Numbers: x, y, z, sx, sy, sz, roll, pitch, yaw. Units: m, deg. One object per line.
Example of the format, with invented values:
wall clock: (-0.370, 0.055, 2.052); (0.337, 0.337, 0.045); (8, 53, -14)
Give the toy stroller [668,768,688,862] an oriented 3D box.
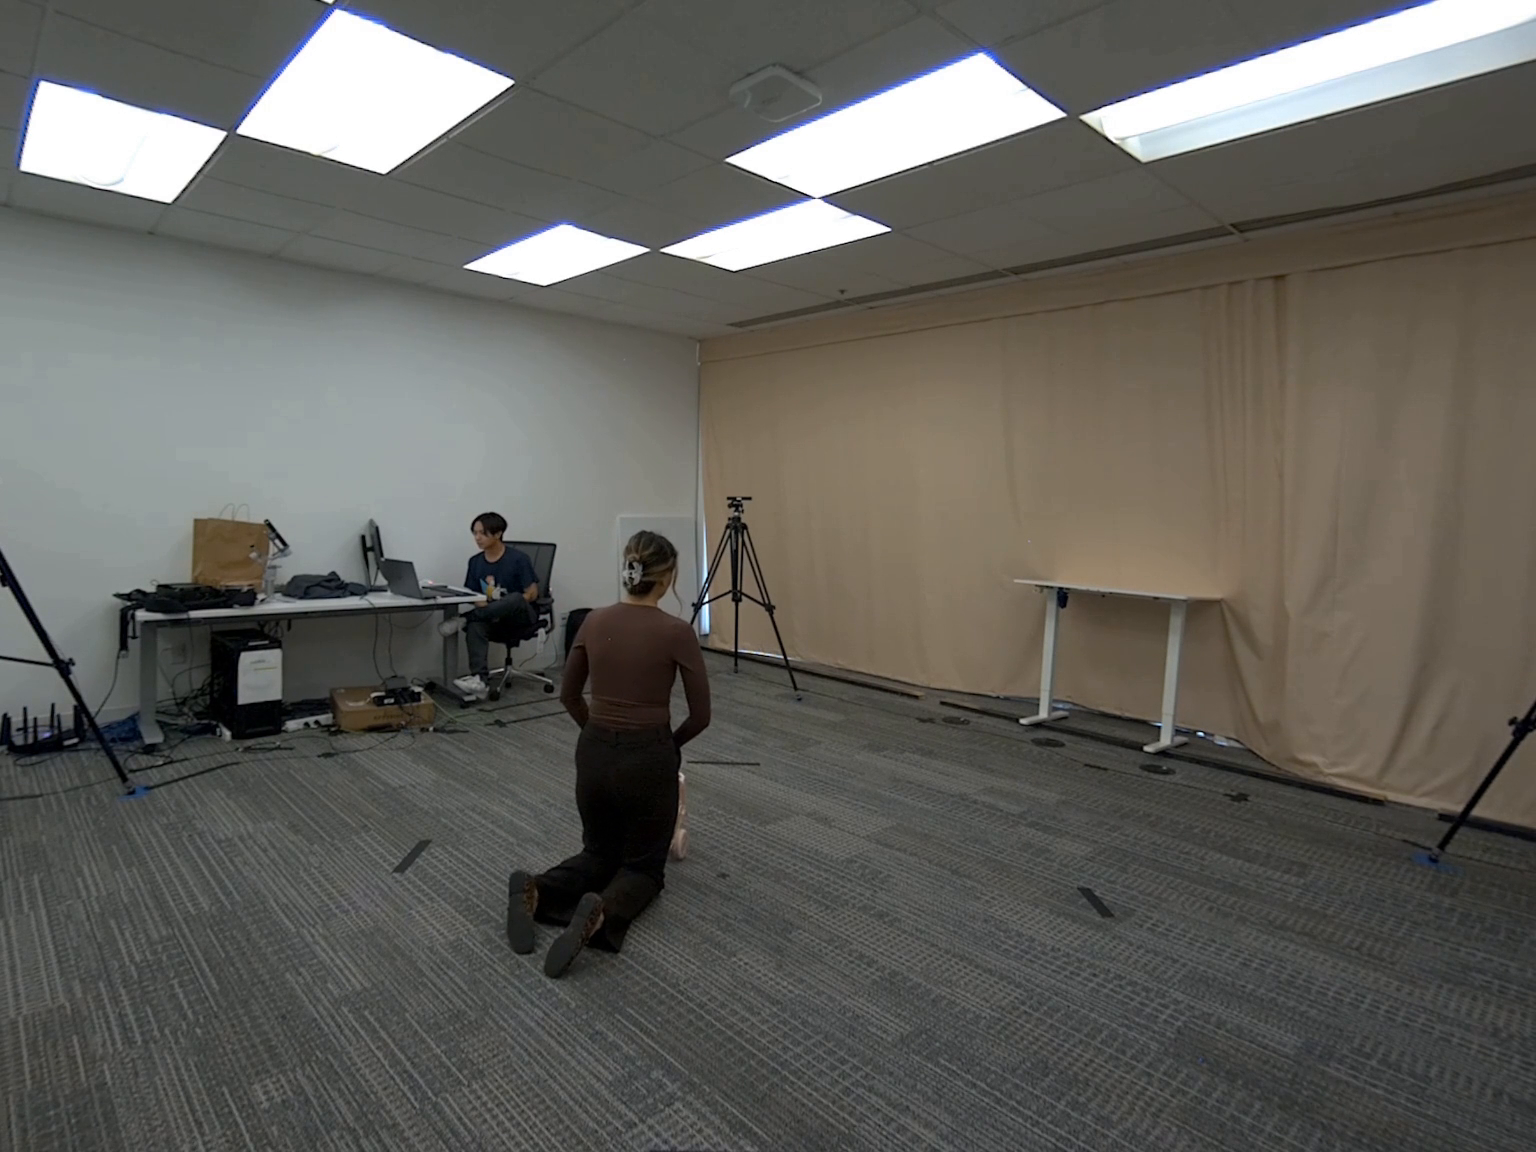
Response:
toy stroller: (-0.447, 0.859, 3.318); (0.285, 0.527, 0.342); (1, 19, 14)
